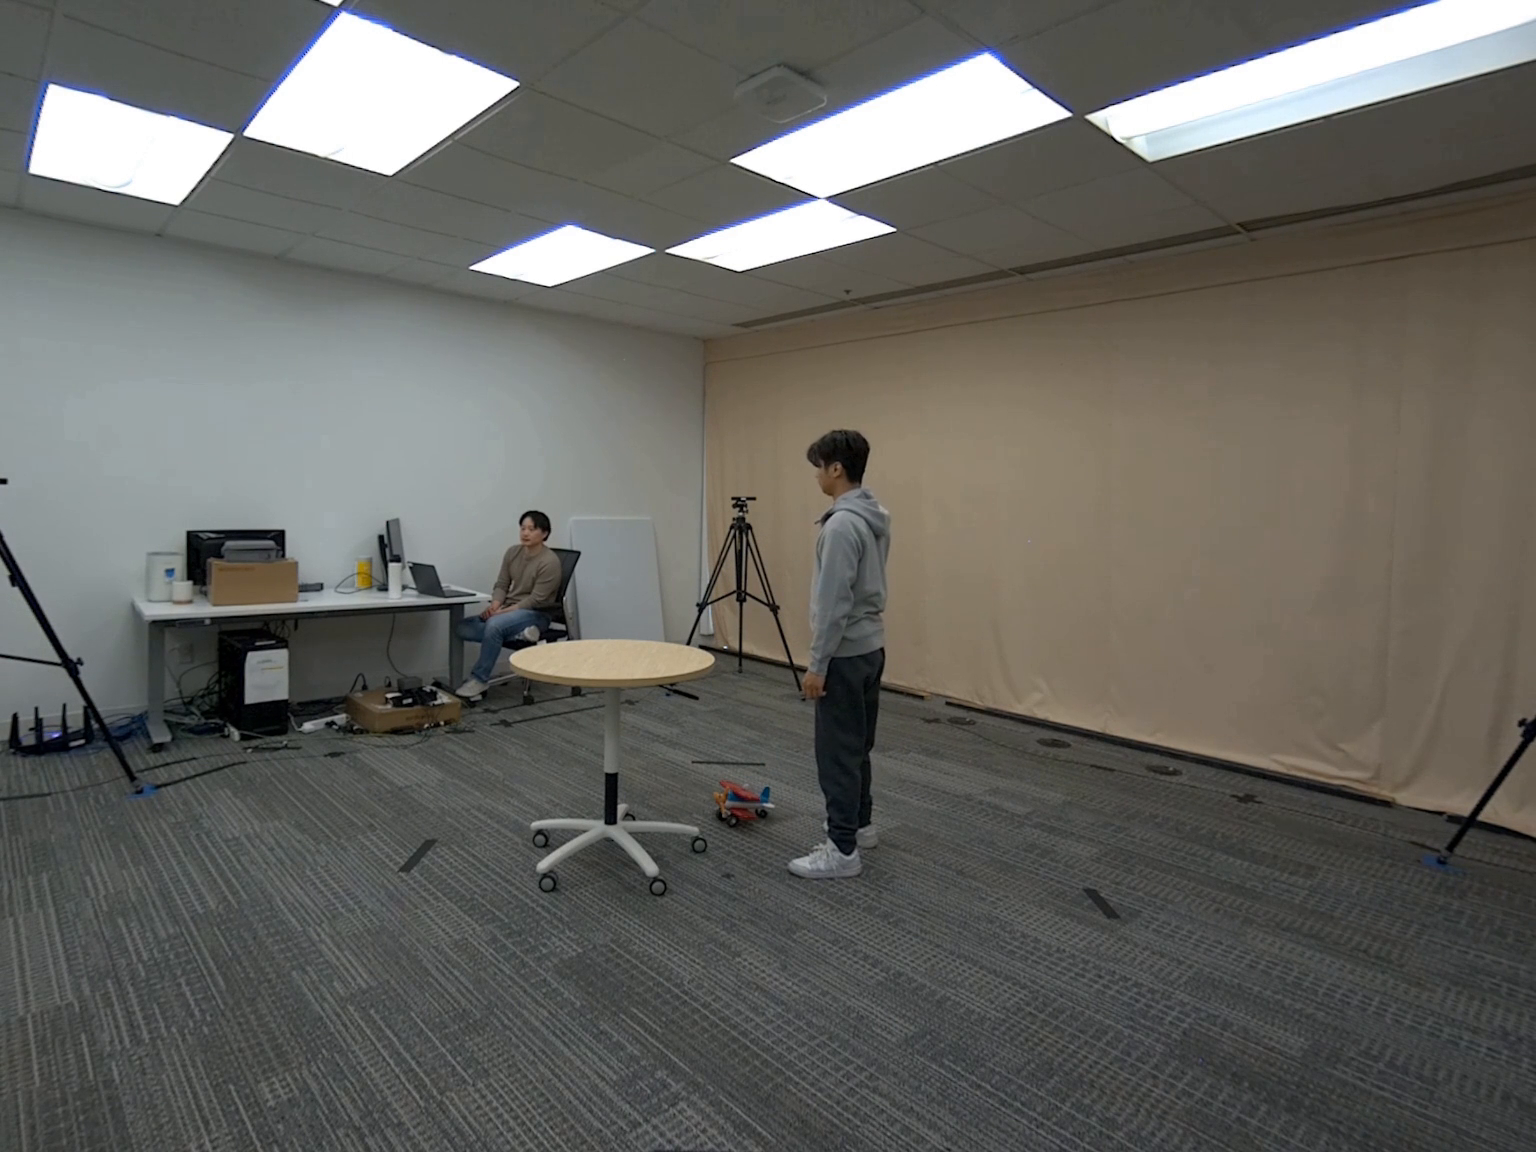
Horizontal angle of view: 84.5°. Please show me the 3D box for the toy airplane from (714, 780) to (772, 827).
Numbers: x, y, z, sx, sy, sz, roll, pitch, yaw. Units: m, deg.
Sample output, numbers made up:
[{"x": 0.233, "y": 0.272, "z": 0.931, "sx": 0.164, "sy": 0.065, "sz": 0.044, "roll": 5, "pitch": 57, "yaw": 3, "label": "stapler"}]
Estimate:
[{"x": -0.123, "y": 0.985, "z": 3.669, "sx": 0.256, "sy": 0.156, "sz": 0.254, "roll": 3, "pitch": 6, "yaw": 29, "label": "toy airplane"}]
